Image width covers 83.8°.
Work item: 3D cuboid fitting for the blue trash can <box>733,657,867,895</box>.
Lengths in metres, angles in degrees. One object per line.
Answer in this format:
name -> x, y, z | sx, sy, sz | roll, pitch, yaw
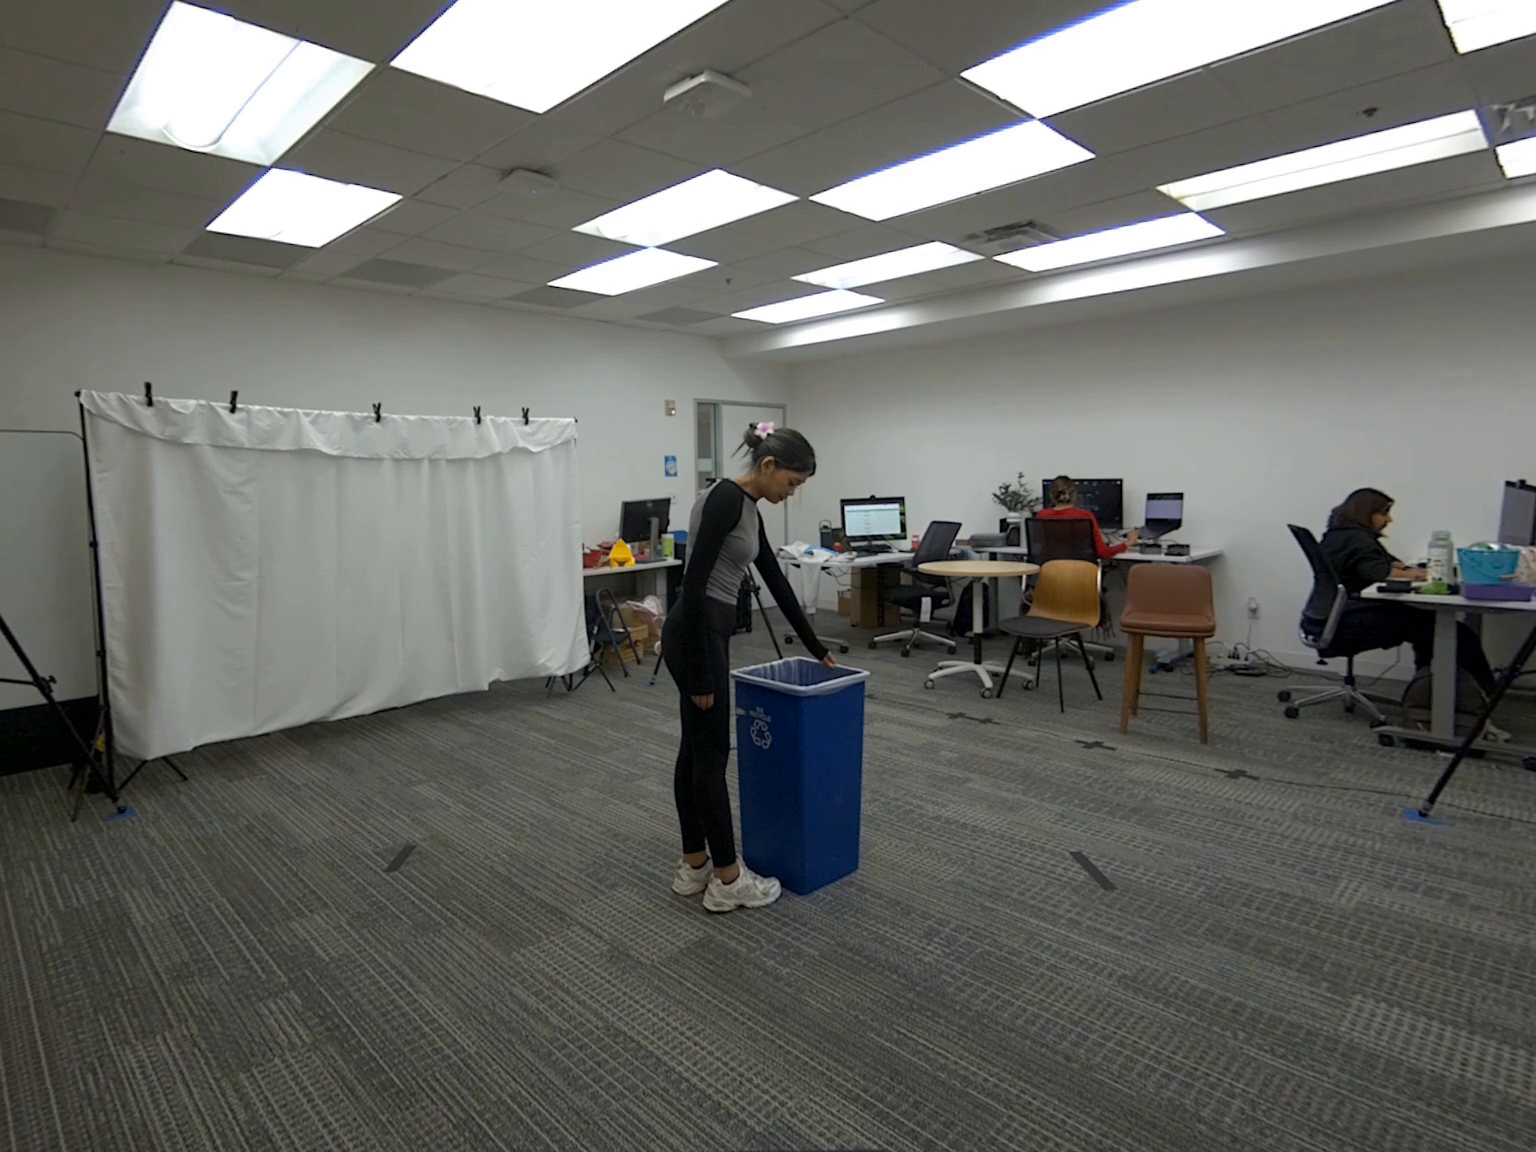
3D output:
blue trash can -> 0.125, 0.690, 3.032 | 0.368, 0.711, 0.385 | -4, 5, -43
